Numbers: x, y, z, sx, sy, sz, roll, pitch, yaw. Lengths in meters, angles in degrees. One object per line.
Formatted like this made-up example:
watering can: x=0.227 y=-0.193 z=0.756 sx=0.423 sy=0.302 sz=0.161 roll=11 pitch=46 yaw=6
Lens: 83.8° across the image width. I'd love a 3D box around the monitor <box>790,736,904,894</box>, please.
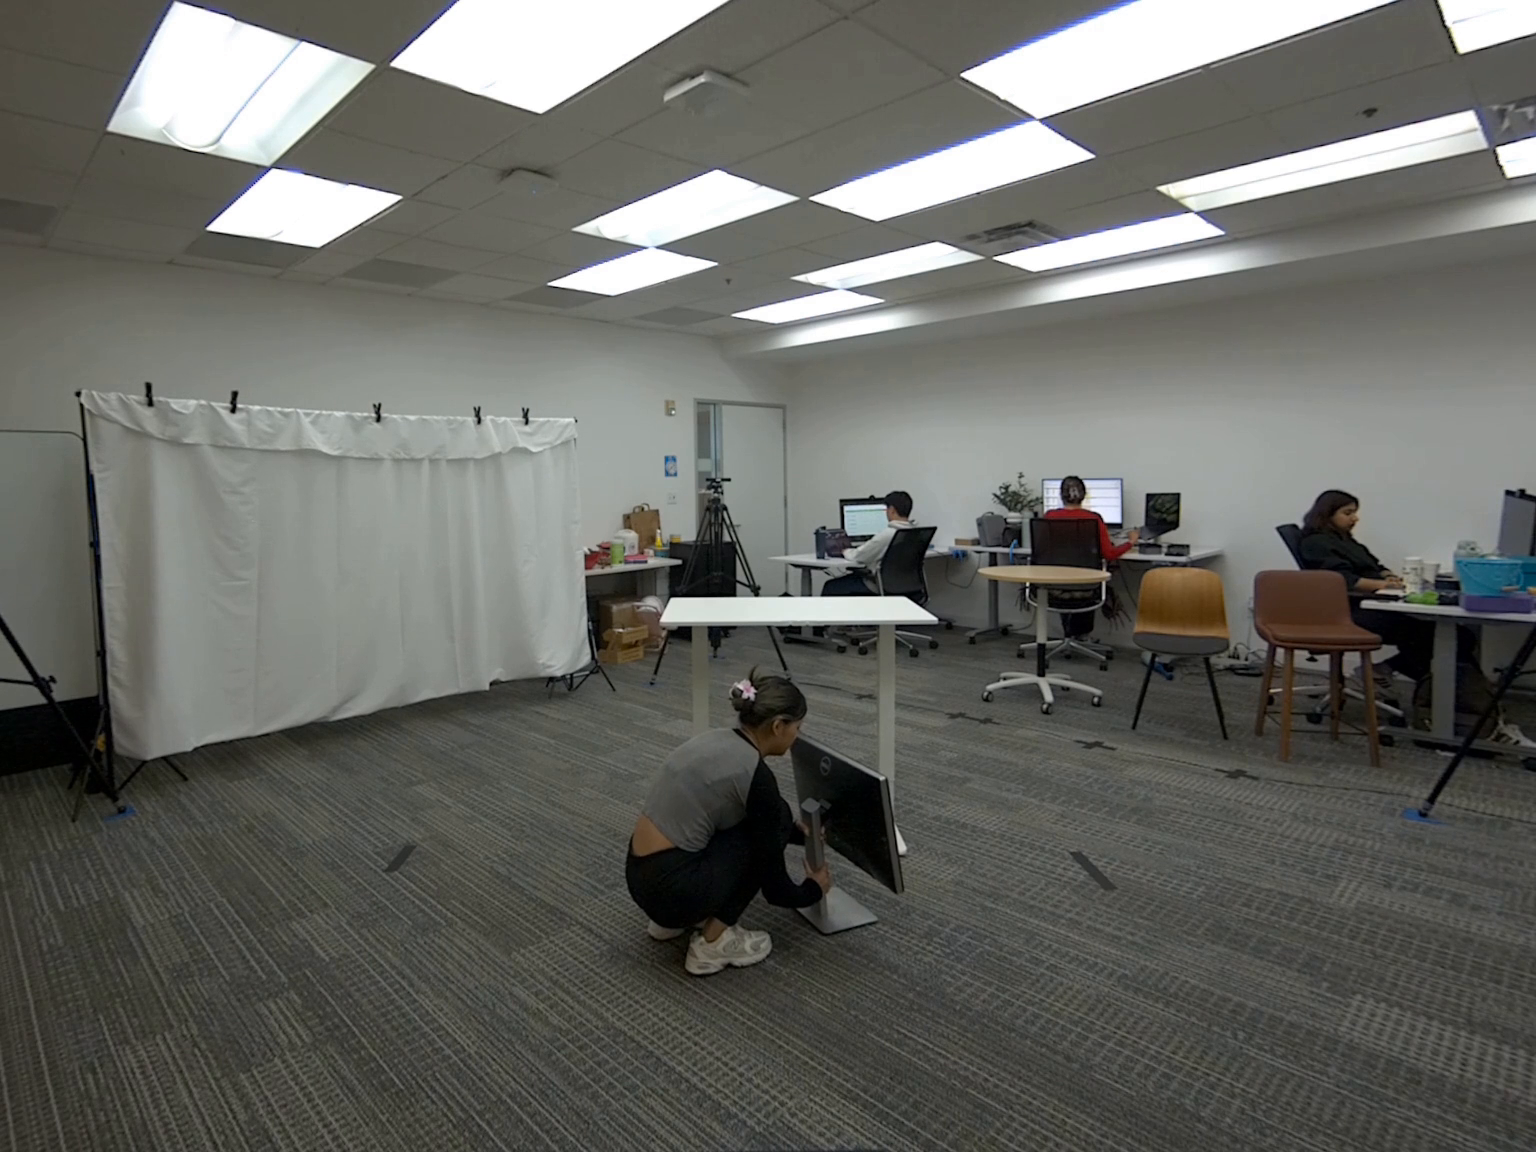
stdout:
monitor: x=0.207 y=0.815 z=2.725 sx=0.182 sy=0.521 sz=0.554 roll=0 pitch=5 yaw=-30
